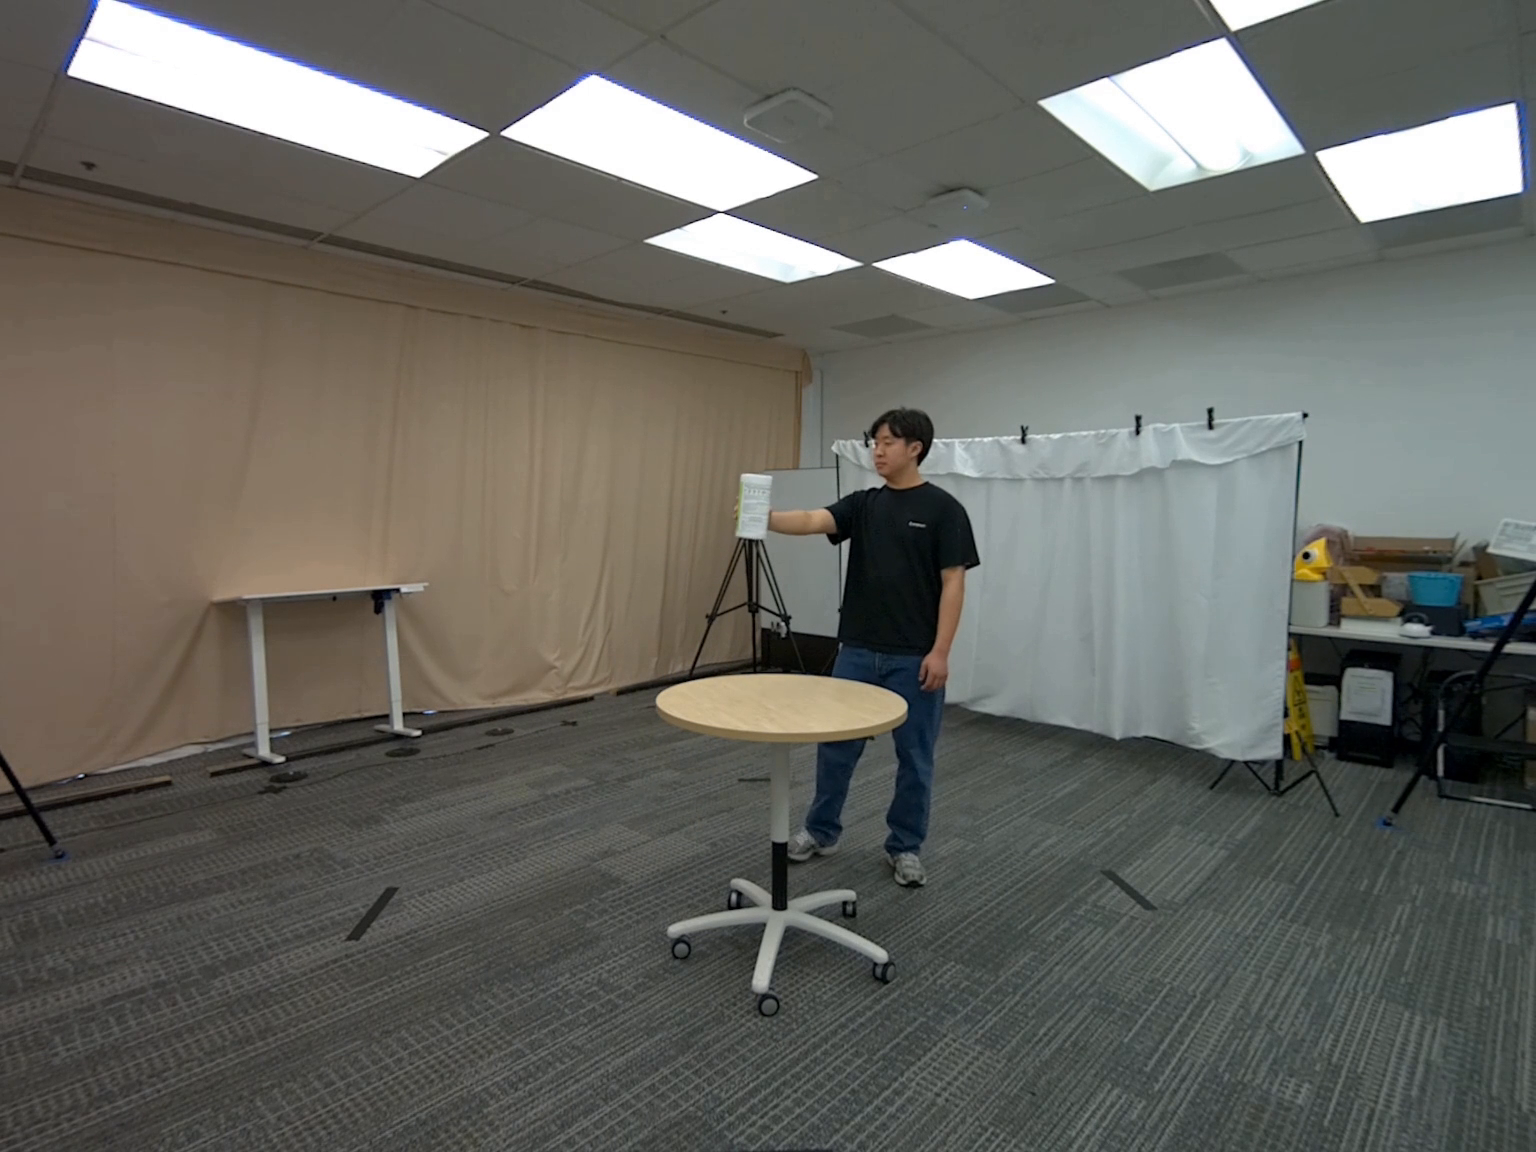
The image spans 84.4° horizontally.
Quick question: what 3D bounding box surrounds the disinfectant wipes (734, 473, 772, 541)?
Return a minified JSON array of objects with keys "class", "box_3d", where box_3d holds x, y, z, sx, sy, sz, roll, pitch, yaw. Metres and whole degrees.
[{"class":"disinfectant wipes","box_3d":[-0.040,-0.233,2.846,0.117,0.217,0.118,4,5,-2]}]
